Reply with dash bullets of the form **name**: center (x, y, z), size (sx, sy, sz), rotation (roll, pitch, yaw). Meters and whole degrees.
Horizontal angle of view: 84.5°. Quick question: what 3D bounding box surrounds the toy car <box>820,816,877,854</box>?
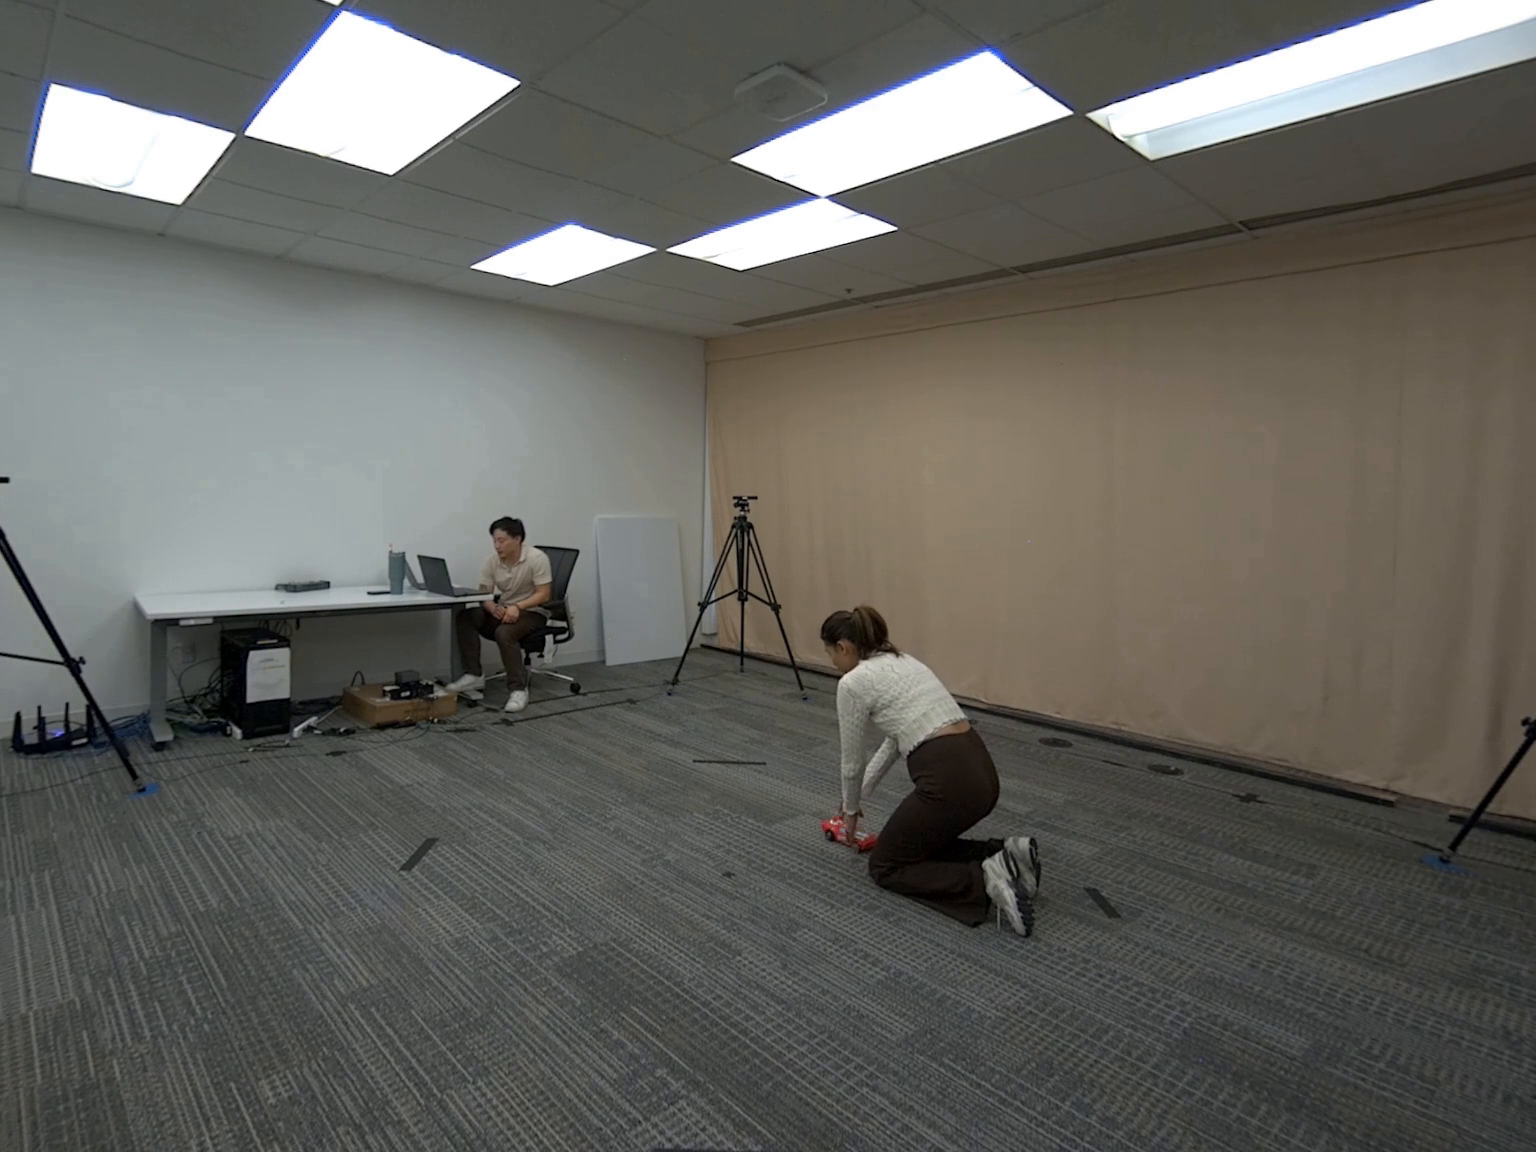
- **toy car**: center (0.319, 1.055, 3.433), size (0.127, 0.082, 0.262), rotation (0, 15, -40)
